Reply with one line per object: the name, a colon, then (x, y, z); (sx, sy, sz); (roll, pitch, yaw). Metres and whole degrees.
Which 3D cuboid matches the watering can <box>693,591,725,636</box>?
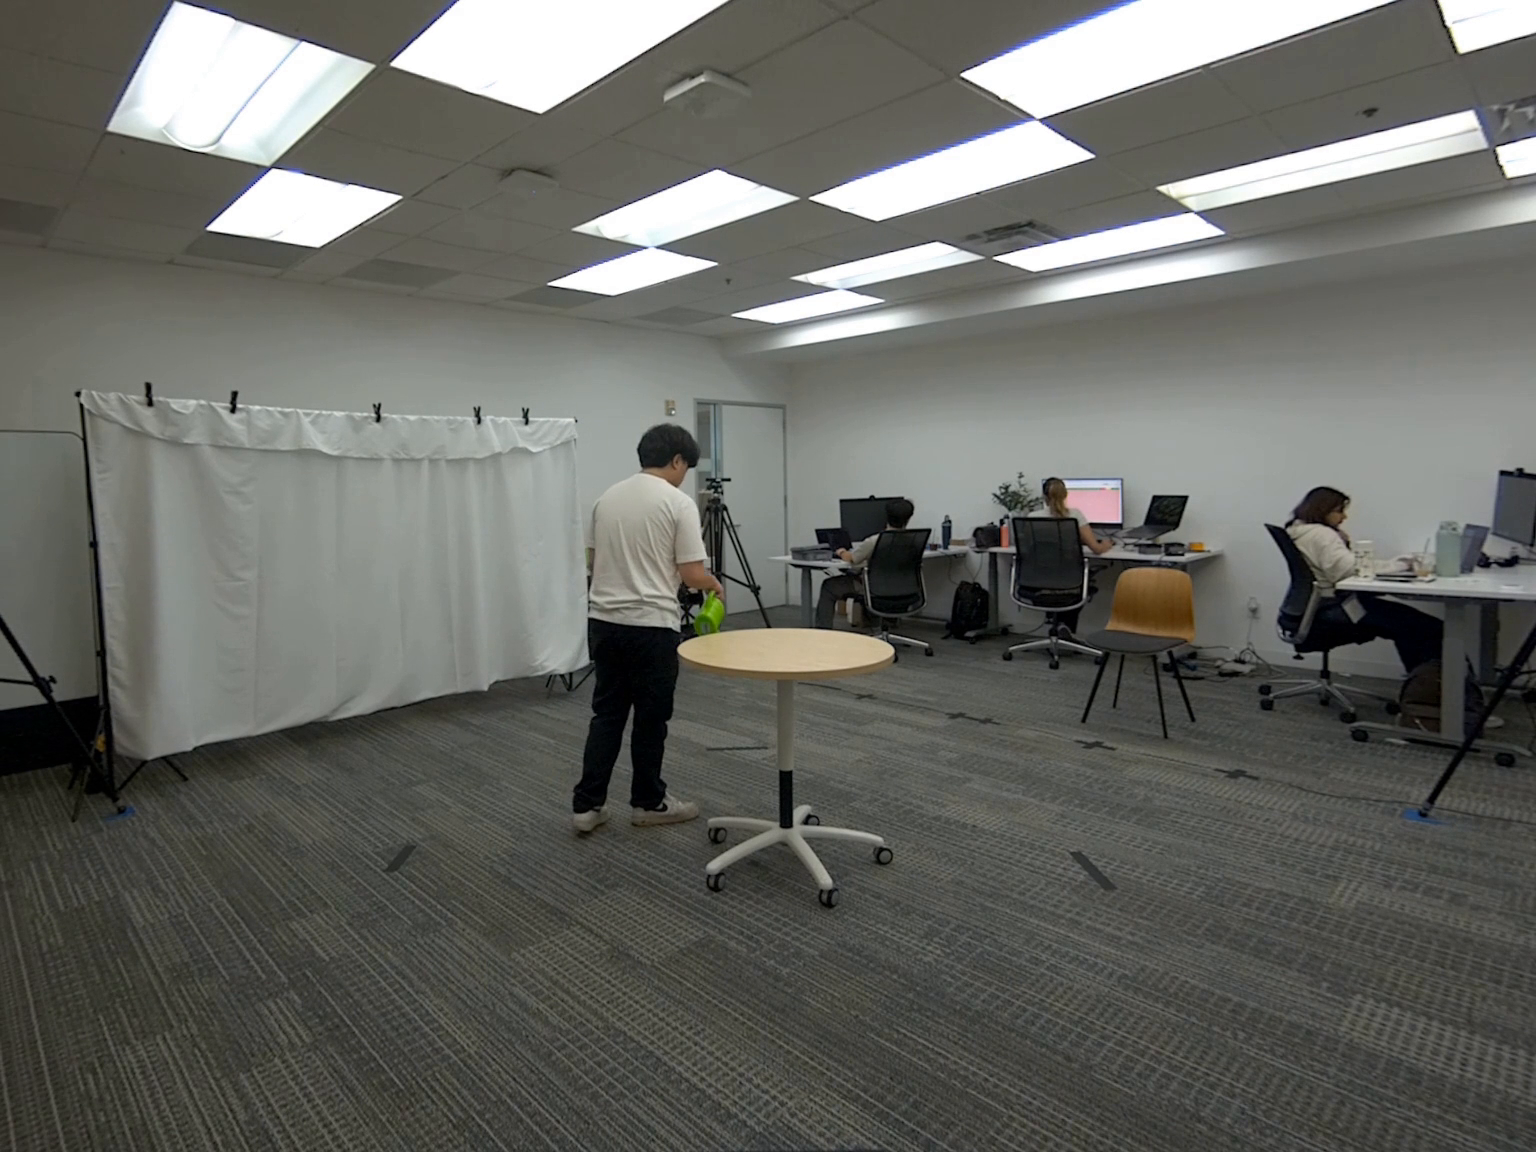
watering can: (-0.235, 0.199, 3.598); (0.100, 0.270, 0.179); (-4, 33, 22)
